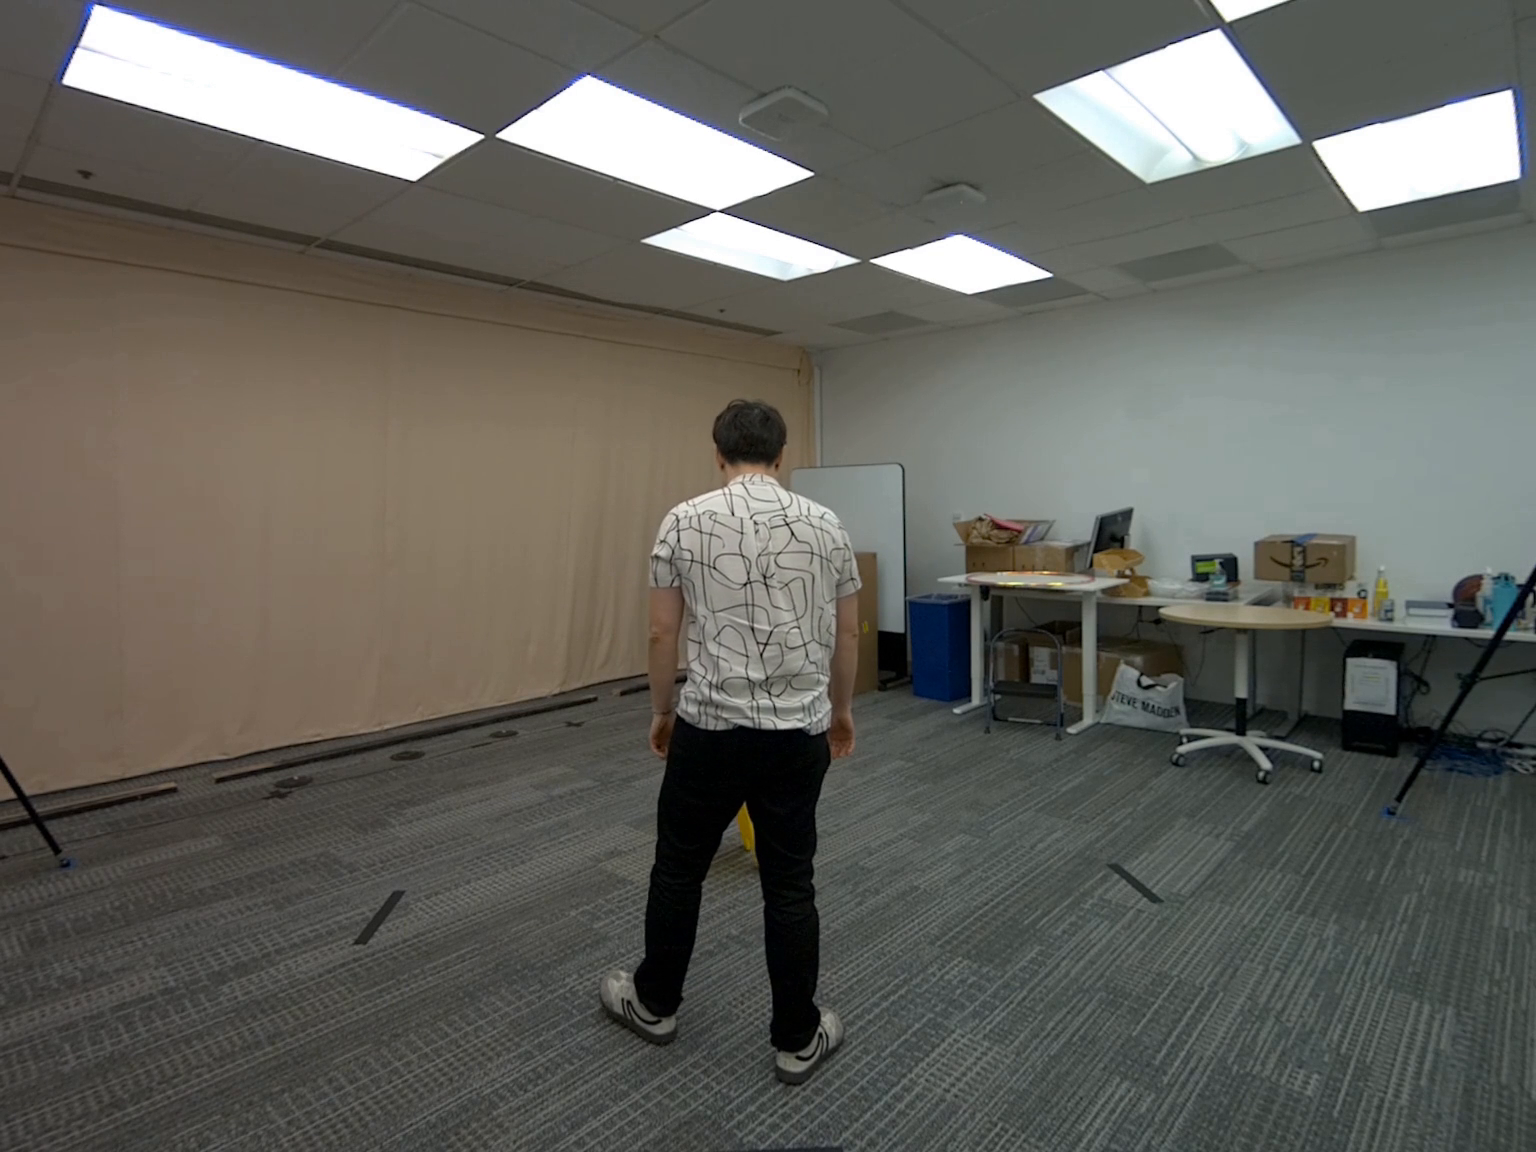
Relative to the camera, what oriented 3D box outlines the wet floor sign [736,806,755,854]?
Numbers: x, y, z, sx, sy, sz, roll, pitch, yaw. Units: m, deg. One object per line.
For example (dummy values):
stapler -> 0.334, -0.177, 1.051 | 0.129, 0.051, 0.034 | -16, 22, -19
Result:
wet floor sign -> -0.200, 0.790, 3.269 | 0.286, 0.645, 0.287 | -3, 3, -14
